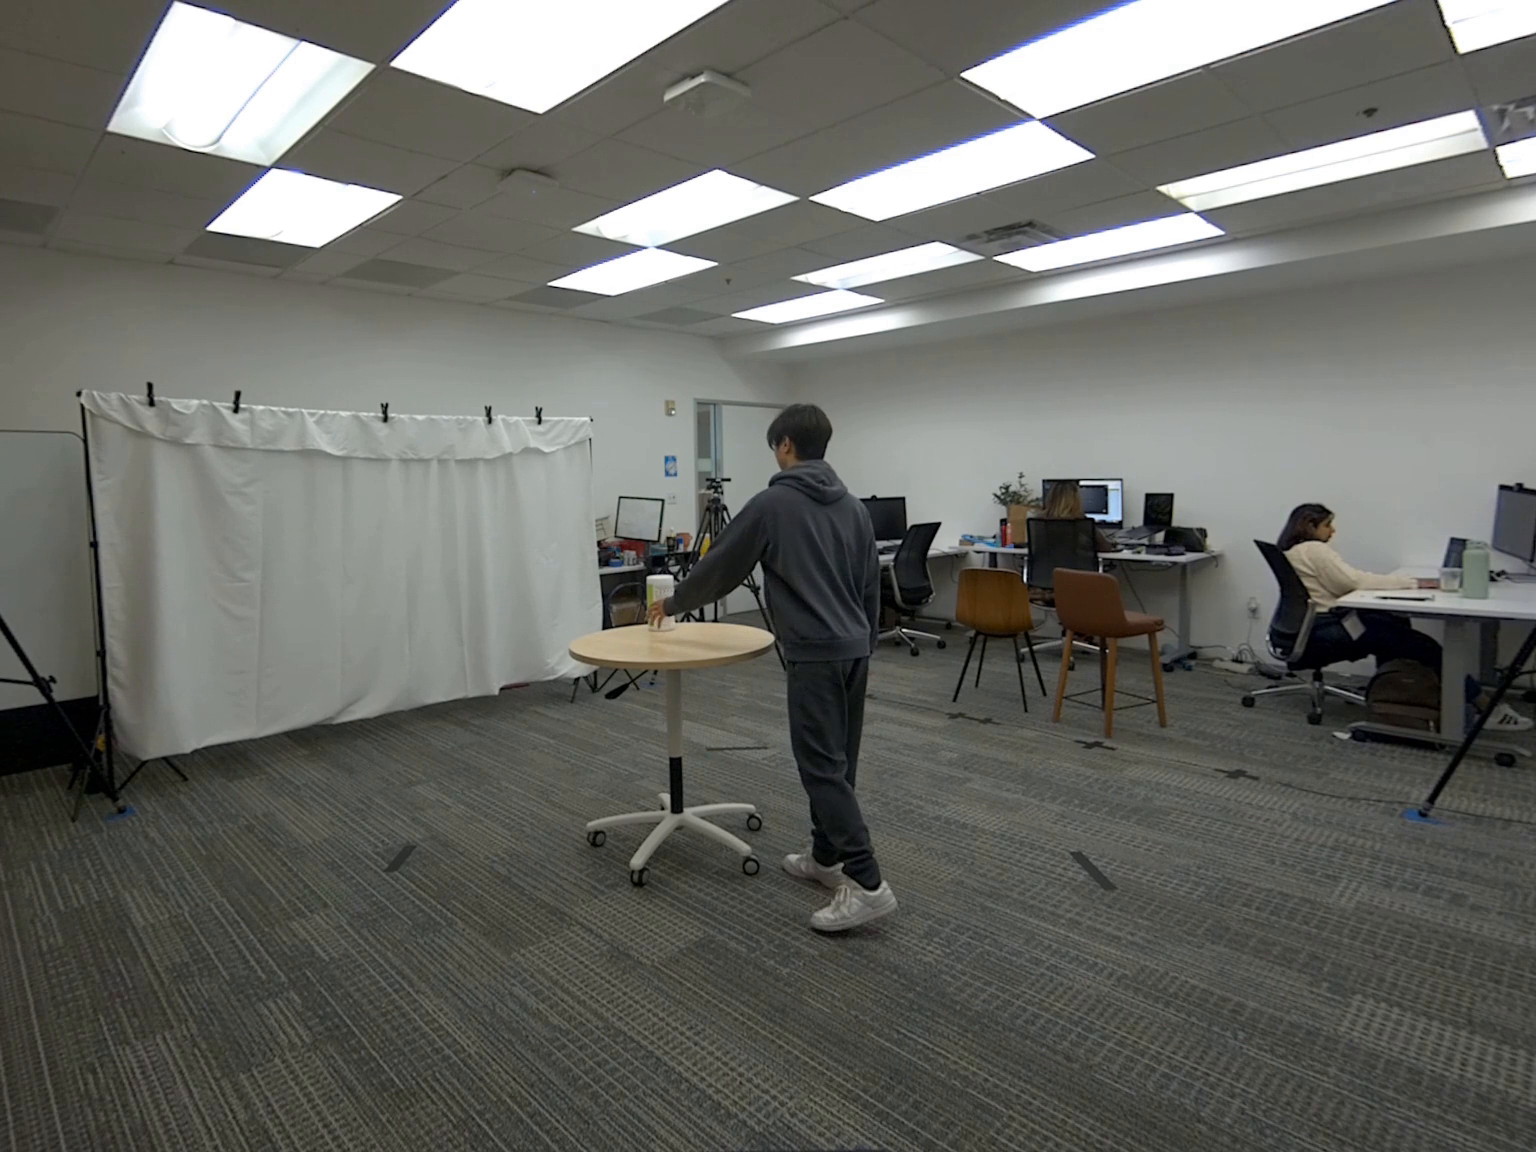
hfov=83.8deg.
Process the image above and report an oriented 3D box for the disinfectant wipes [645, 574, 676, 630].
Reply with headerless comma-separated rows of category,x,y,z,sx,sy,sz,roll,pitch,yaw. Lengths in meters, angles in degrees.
disinfectant wipes,-0.425,0.108,3.422,0.118,0.217,0.118,-3,4,-1
